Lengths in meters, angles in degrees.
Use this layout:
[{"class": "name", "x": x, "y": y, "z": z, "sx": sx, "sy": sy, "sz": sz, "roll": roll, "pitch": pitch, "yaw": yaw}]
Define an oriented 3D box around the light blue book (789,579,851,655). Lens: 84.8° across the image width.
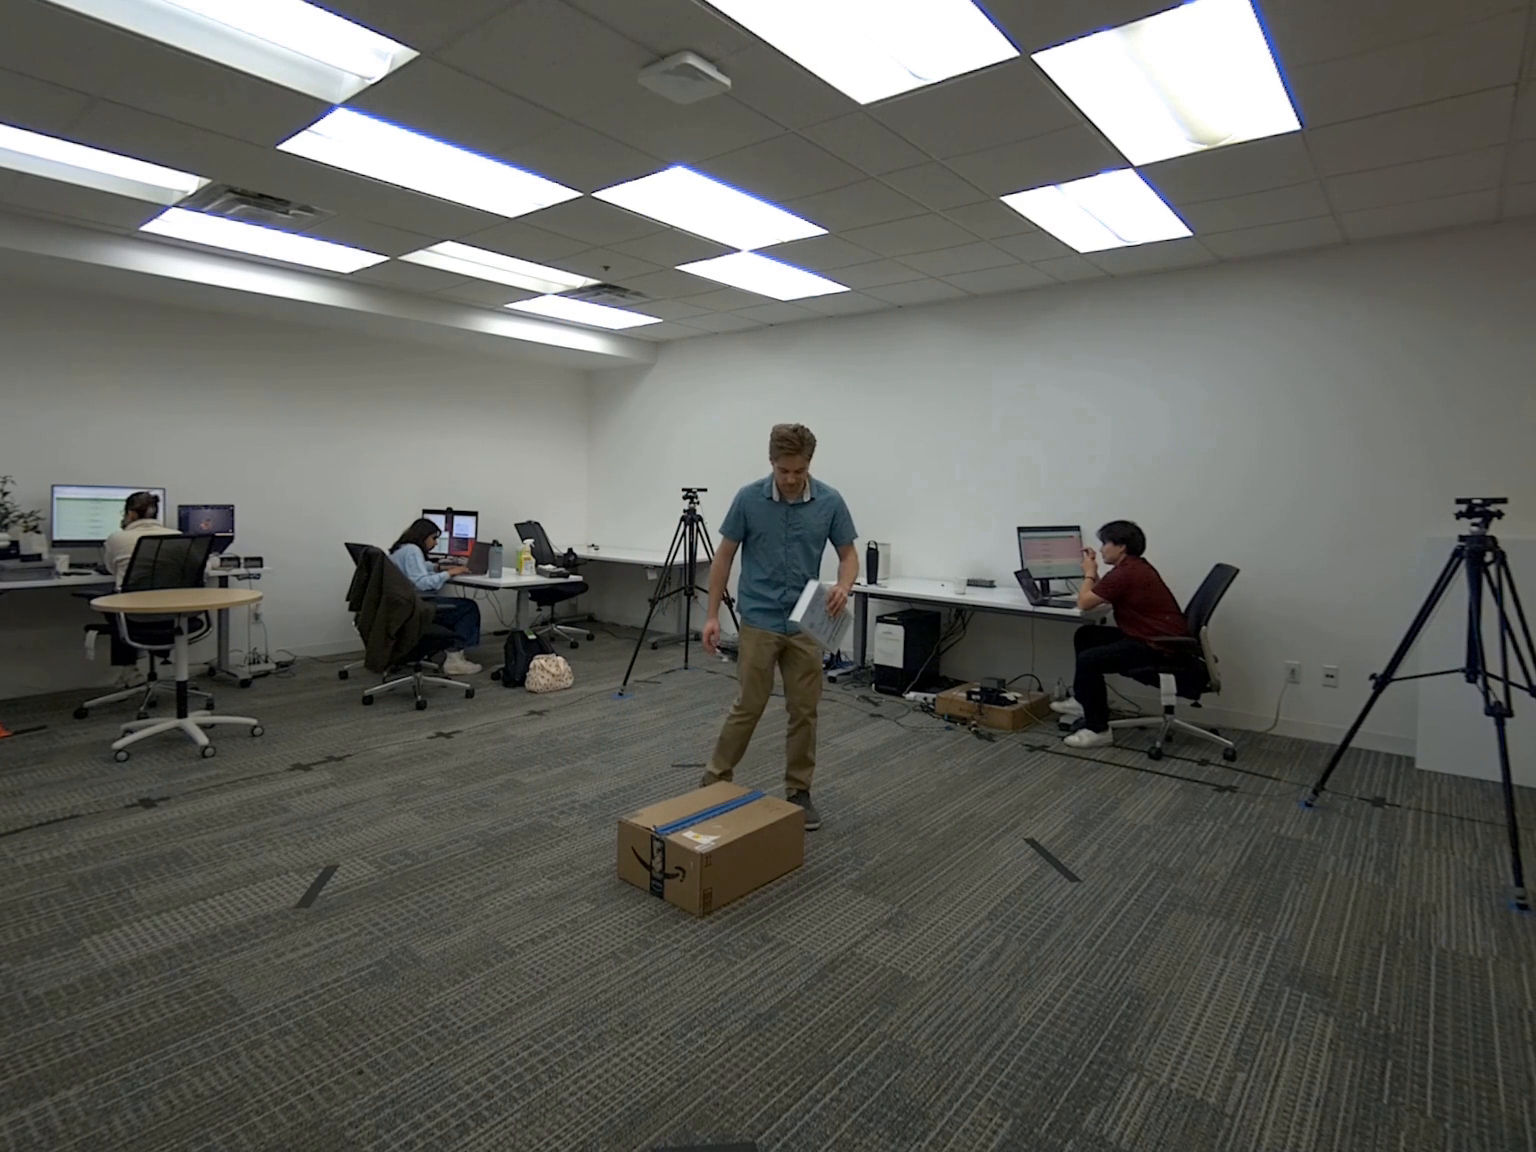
[{"class": "light blue book", "x": 0.200, "y": 0.160, "z": 3.350, "sx": 0.061, "sy": 0.192, "sz": 0.250, "roll": 7, "pitch": -29, "yaw": 48}]
